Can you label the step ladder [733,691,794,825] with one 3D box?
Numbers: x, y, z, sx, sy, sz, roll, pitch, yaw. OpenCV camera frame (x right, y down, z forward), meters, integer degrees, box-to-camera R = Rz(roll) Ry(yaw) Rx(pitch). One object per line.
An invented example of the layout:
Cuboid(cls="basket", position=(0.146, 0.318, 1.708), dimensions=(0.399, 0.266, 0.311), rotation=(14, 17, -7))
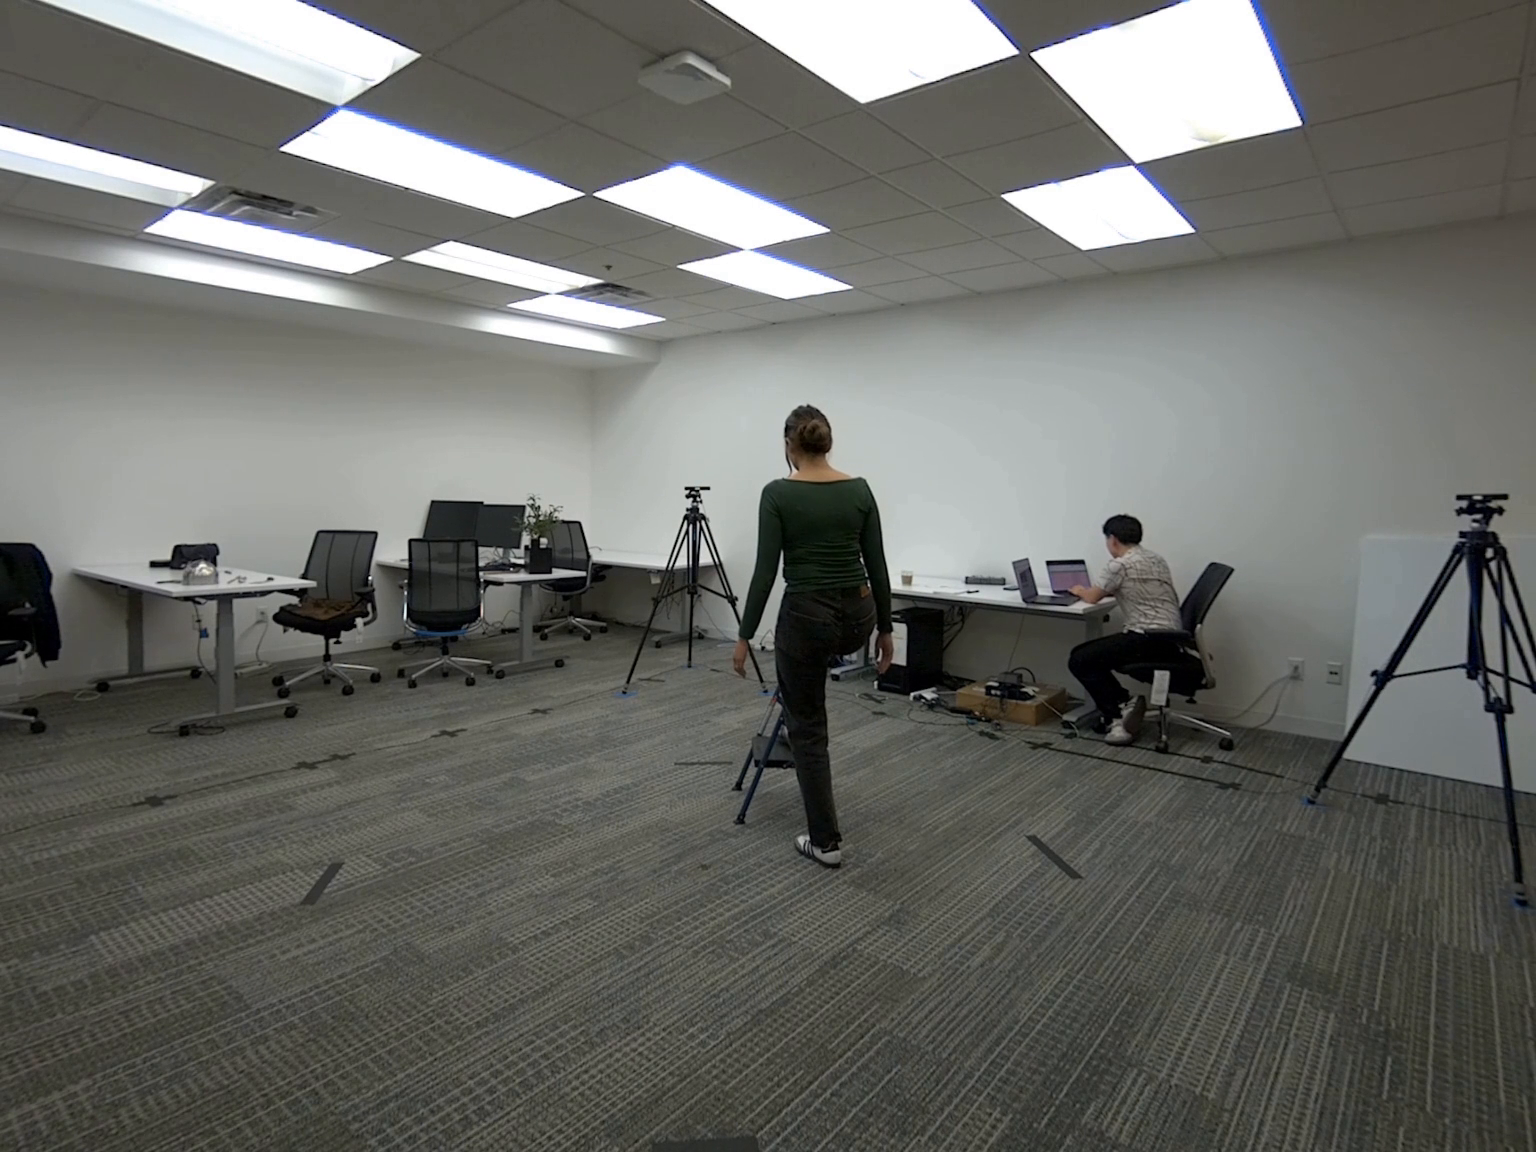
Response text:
Cuboid(cls="step ladder", position=(0.016, 0.708, 3.720), dimensions=(0.349, 0.604, 0.433), rotation=(0, 4, -3))
